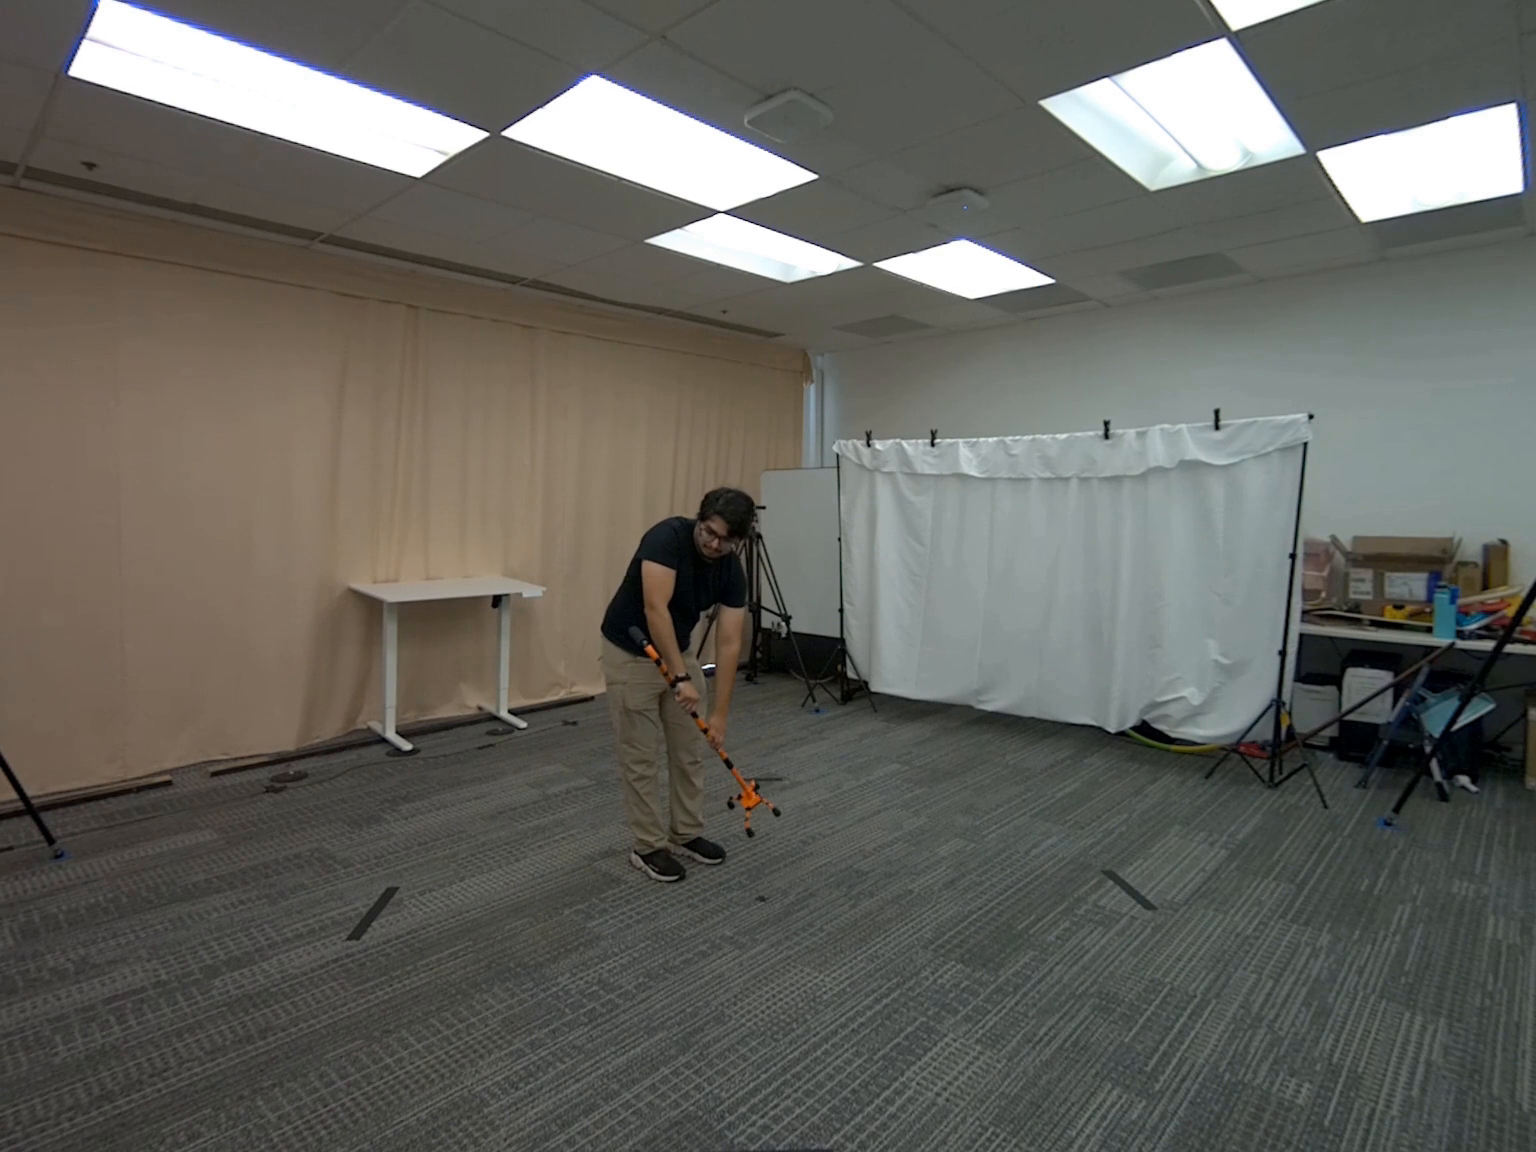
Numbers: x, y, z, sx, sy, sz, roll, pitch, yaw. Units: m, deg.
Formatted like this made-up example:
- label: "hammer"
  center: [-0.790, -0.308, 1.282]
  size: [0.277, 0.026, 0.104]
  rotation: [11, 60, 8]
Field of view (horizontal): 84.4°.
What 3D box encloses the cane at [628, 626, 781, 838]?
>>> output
- label: "cane"
  center: [-0.231, 0.556, 2.975]
  size: [0.151, 0.884, 0.213]
  rotation: [-34, 29, -11]
